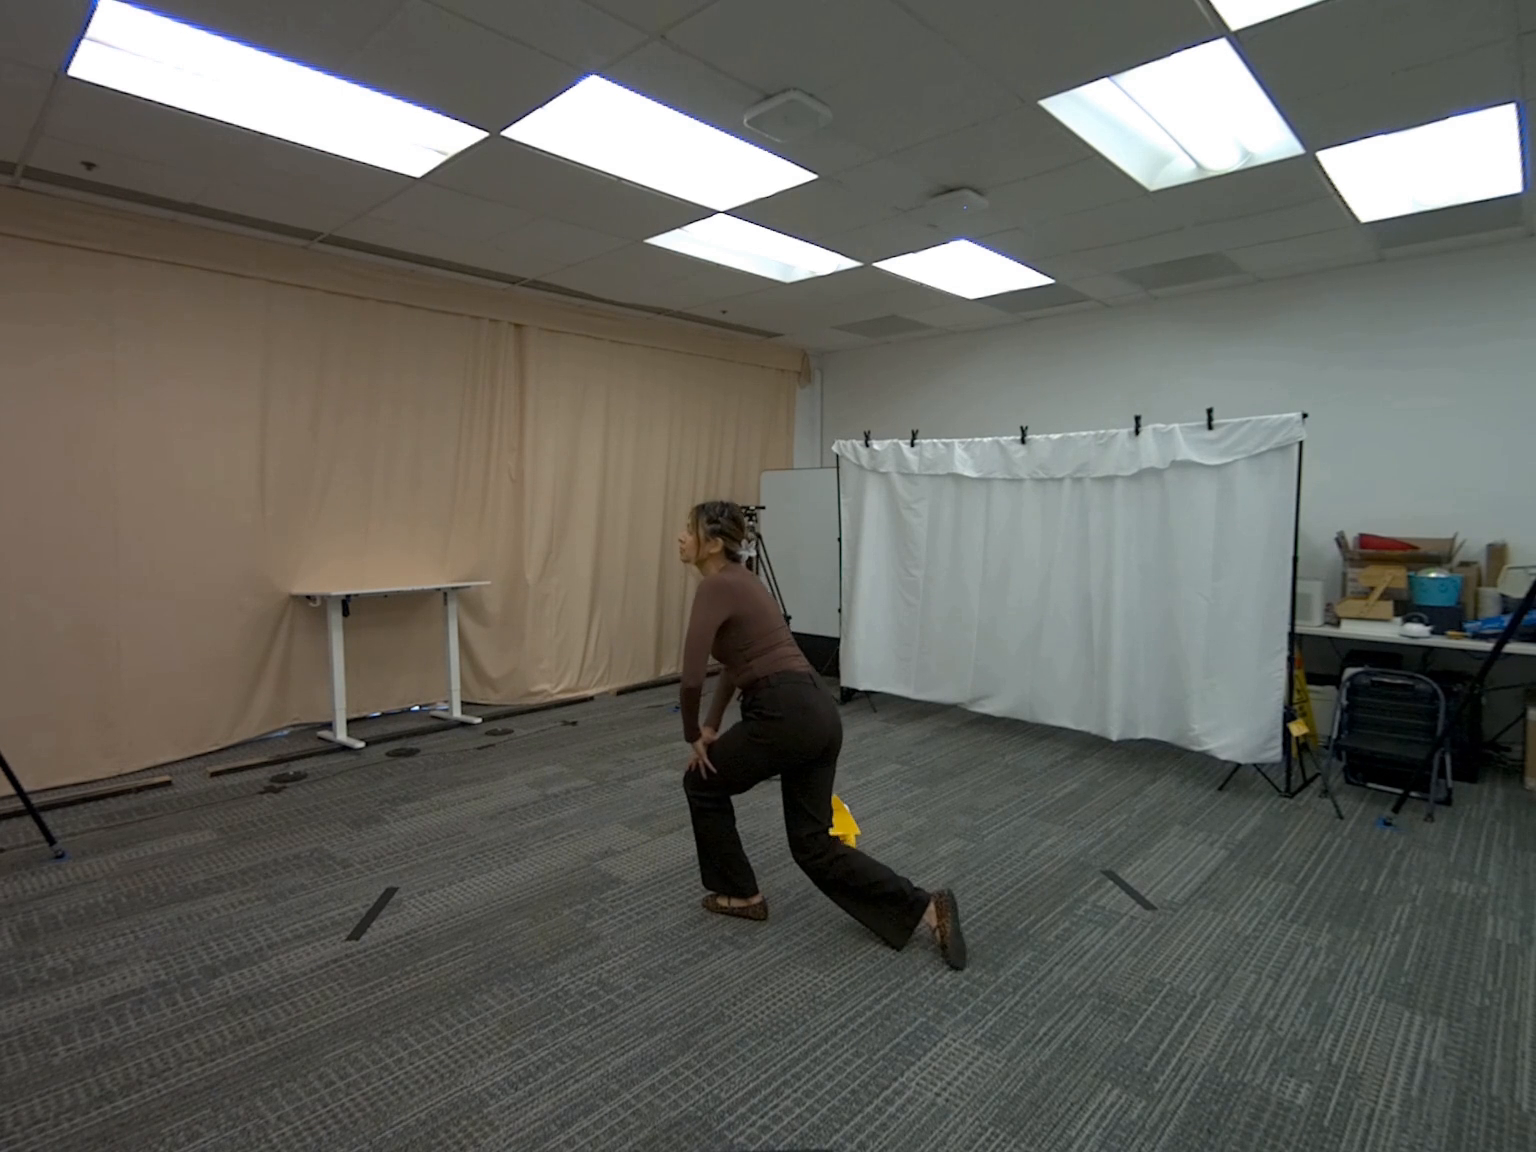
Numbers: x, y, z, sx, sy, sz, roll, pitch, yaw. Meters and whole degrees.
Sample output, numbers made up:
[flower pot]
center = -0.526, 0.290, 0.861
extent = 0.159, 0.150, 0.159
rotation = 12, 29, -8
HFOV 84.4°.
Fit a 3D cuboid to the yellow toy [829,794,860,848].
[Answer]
[yellow toy]
center = 0.264, 0.989, 3.448
extent = 0.204, 0.230, 0.194
rotation = 0, 3, -5
